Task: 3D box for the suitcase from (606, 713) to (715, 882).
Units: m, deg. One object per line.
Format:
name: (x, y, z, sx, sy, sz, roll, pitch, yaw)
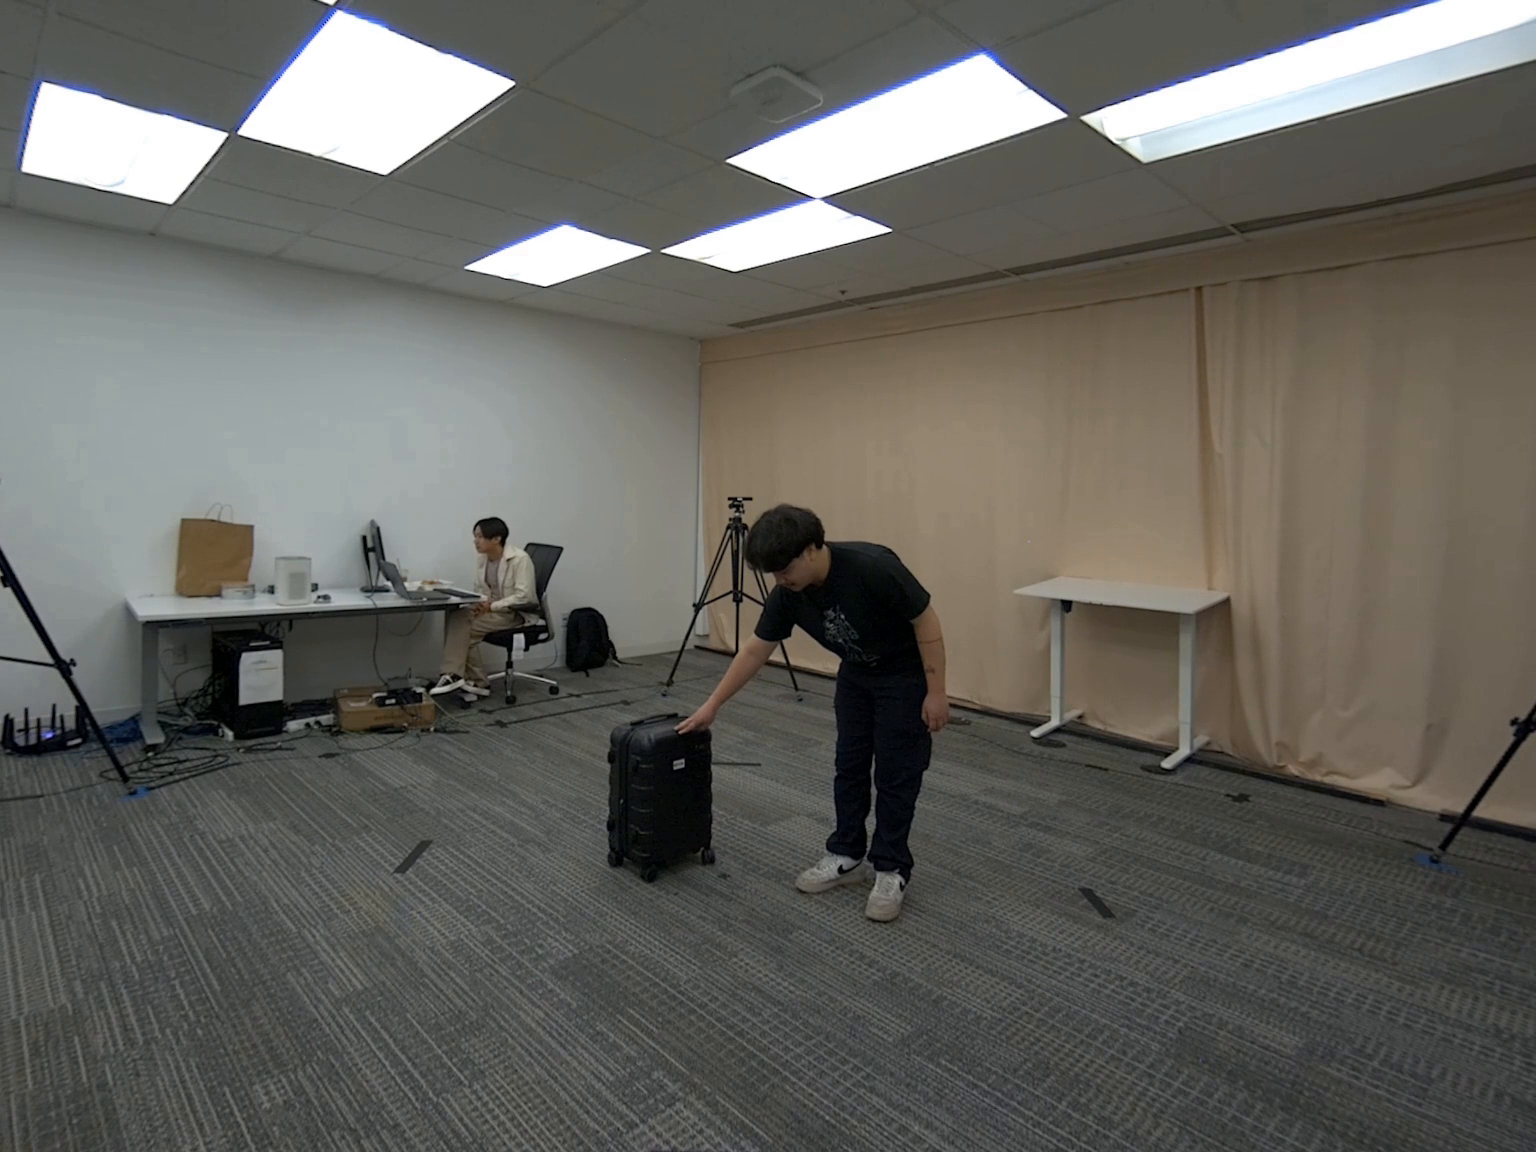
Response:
suitcase: (-0.407, 0.811, 3.199, 0.367, 0.549, 0.254, -1, 2, -43)
